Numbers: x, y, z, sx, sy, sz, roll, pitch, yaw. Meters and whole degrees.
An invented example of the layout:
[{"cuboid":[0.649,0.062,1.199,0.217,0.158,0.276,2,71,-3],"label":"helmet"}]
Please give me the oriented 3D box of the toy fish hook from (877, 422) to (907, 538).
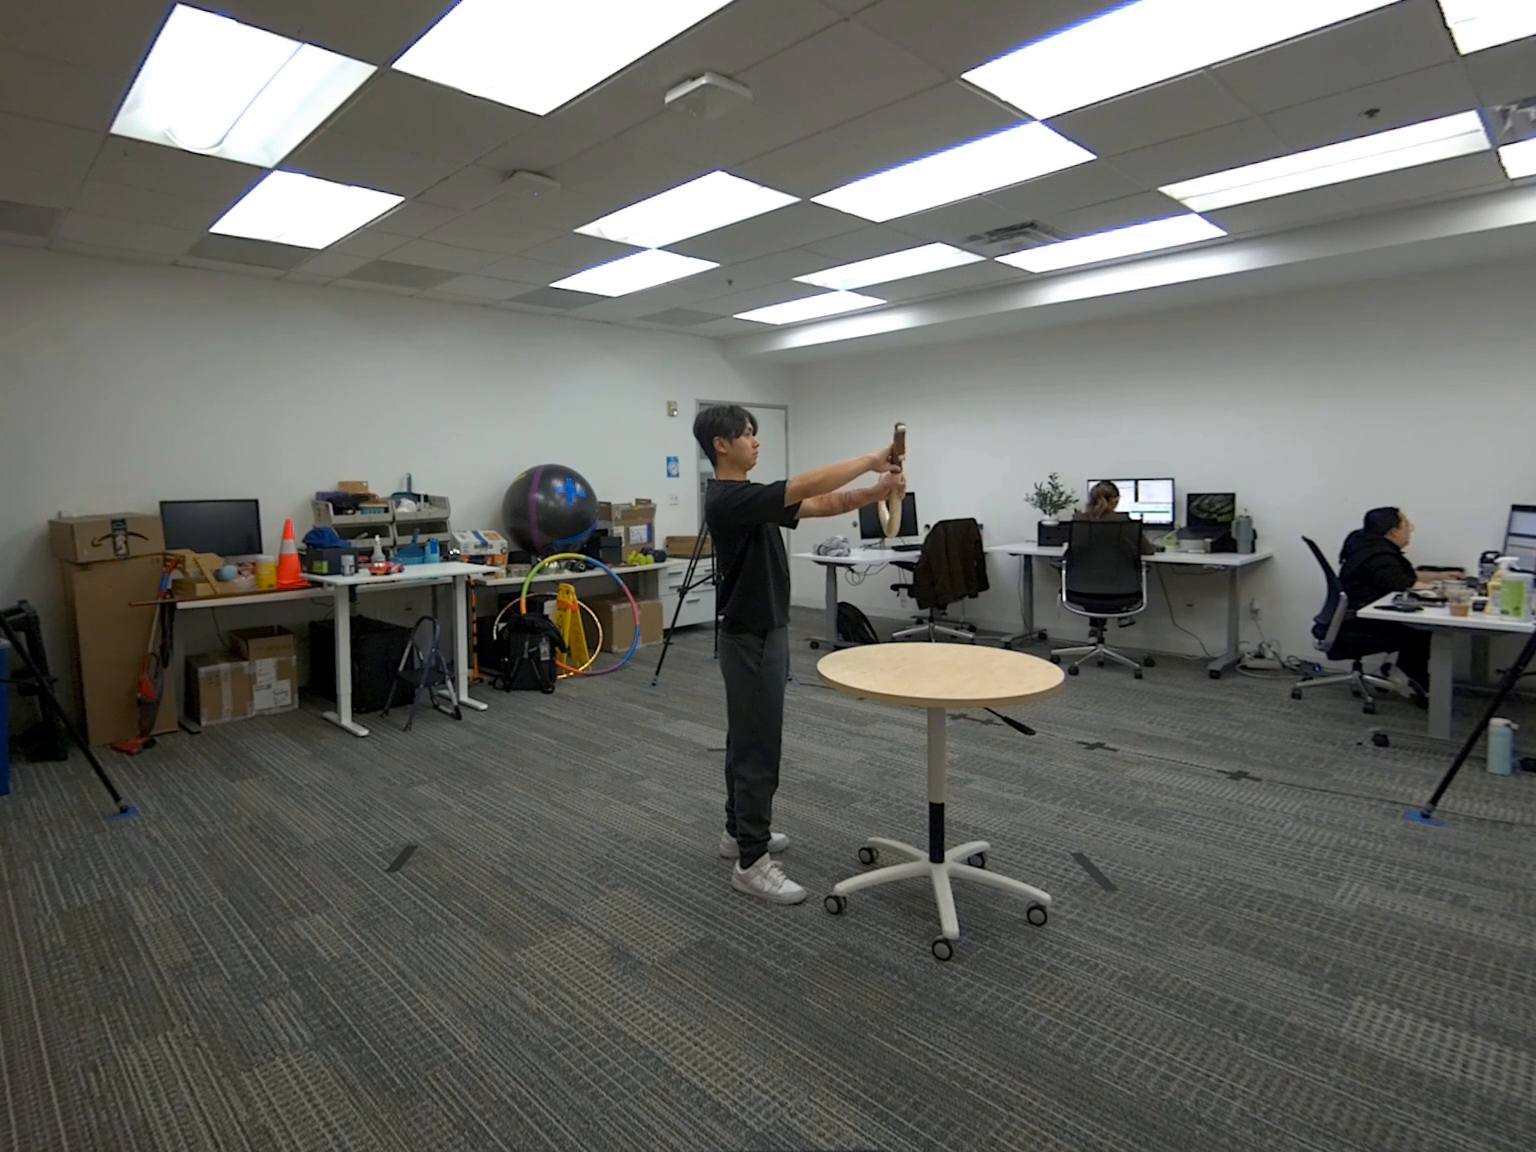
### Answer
[{"cuboid":[0.435,-0.354,2.959,0.048,0.492,0.232,-6,43,-5],"label":"toy fish hook"}]
